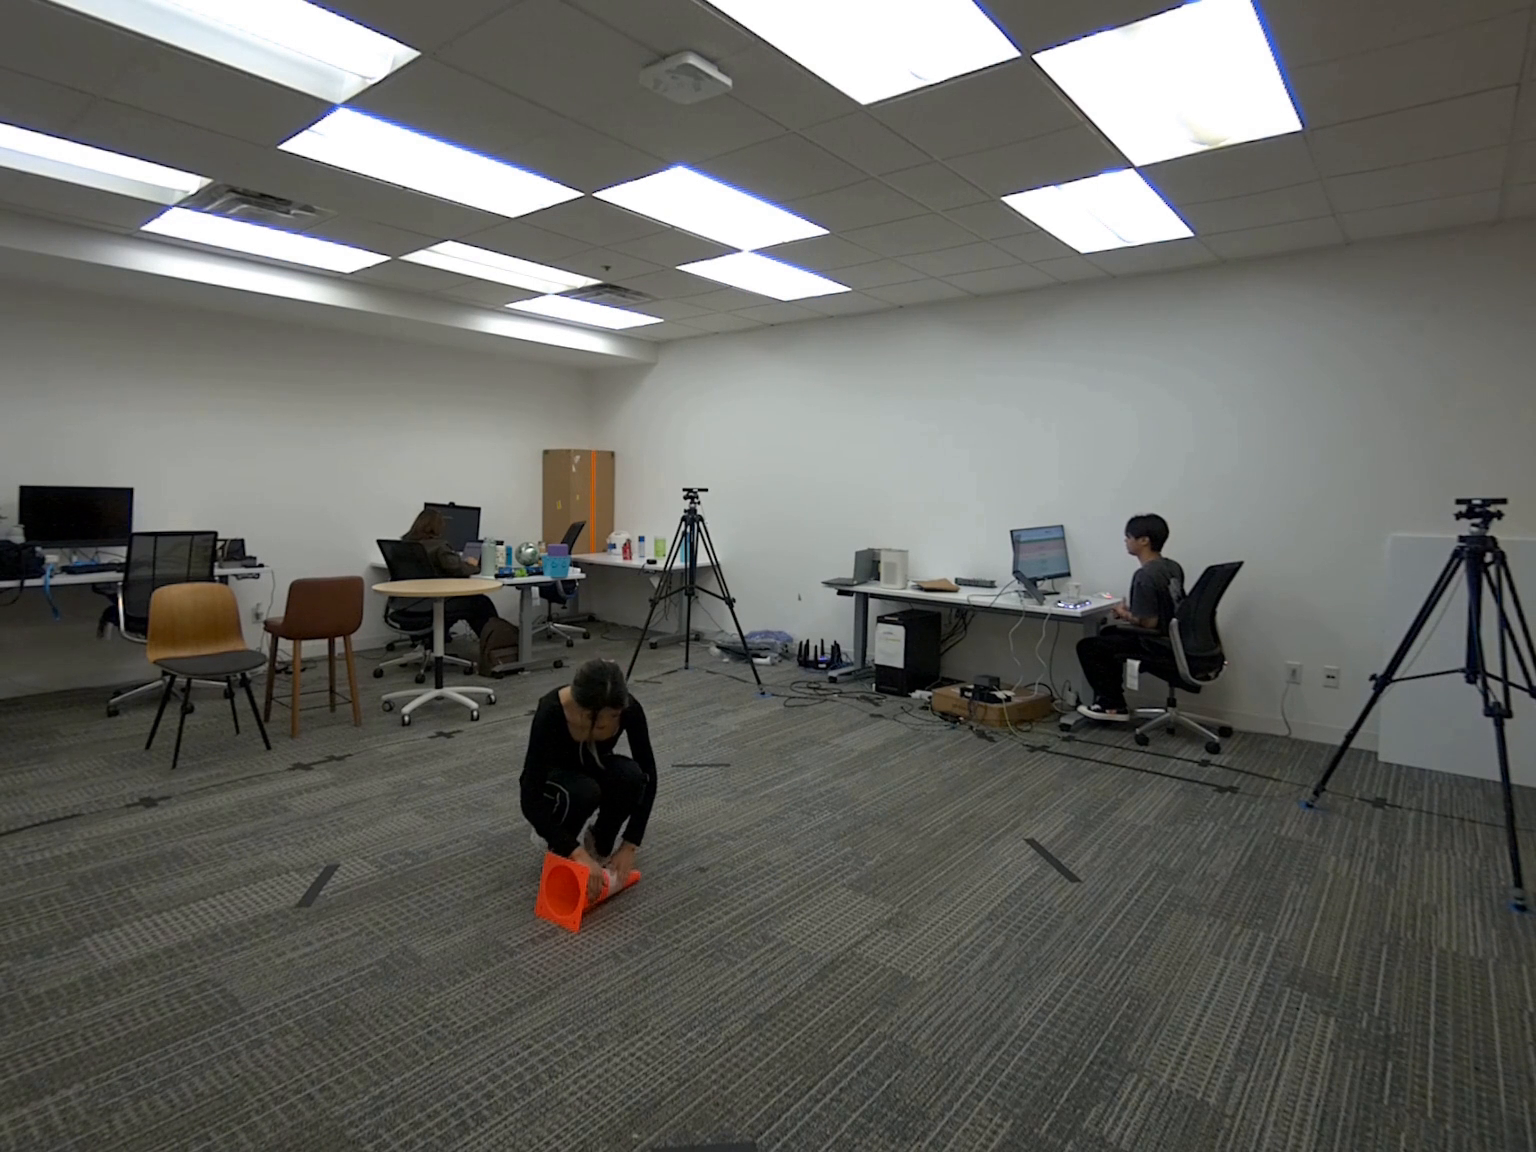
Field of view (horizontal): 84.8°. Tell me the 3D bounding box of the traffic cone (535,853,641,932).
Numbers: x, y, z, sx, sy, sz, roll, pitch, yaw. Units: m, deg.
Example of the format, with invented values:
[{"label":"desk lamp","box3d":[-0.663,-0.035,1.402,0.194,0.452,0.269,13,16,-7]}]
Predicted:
[{"label":"traffic cone","box3d":[-0.577,1.041,2.867,0.211,0.205,0.369,2,-10,33]}]
